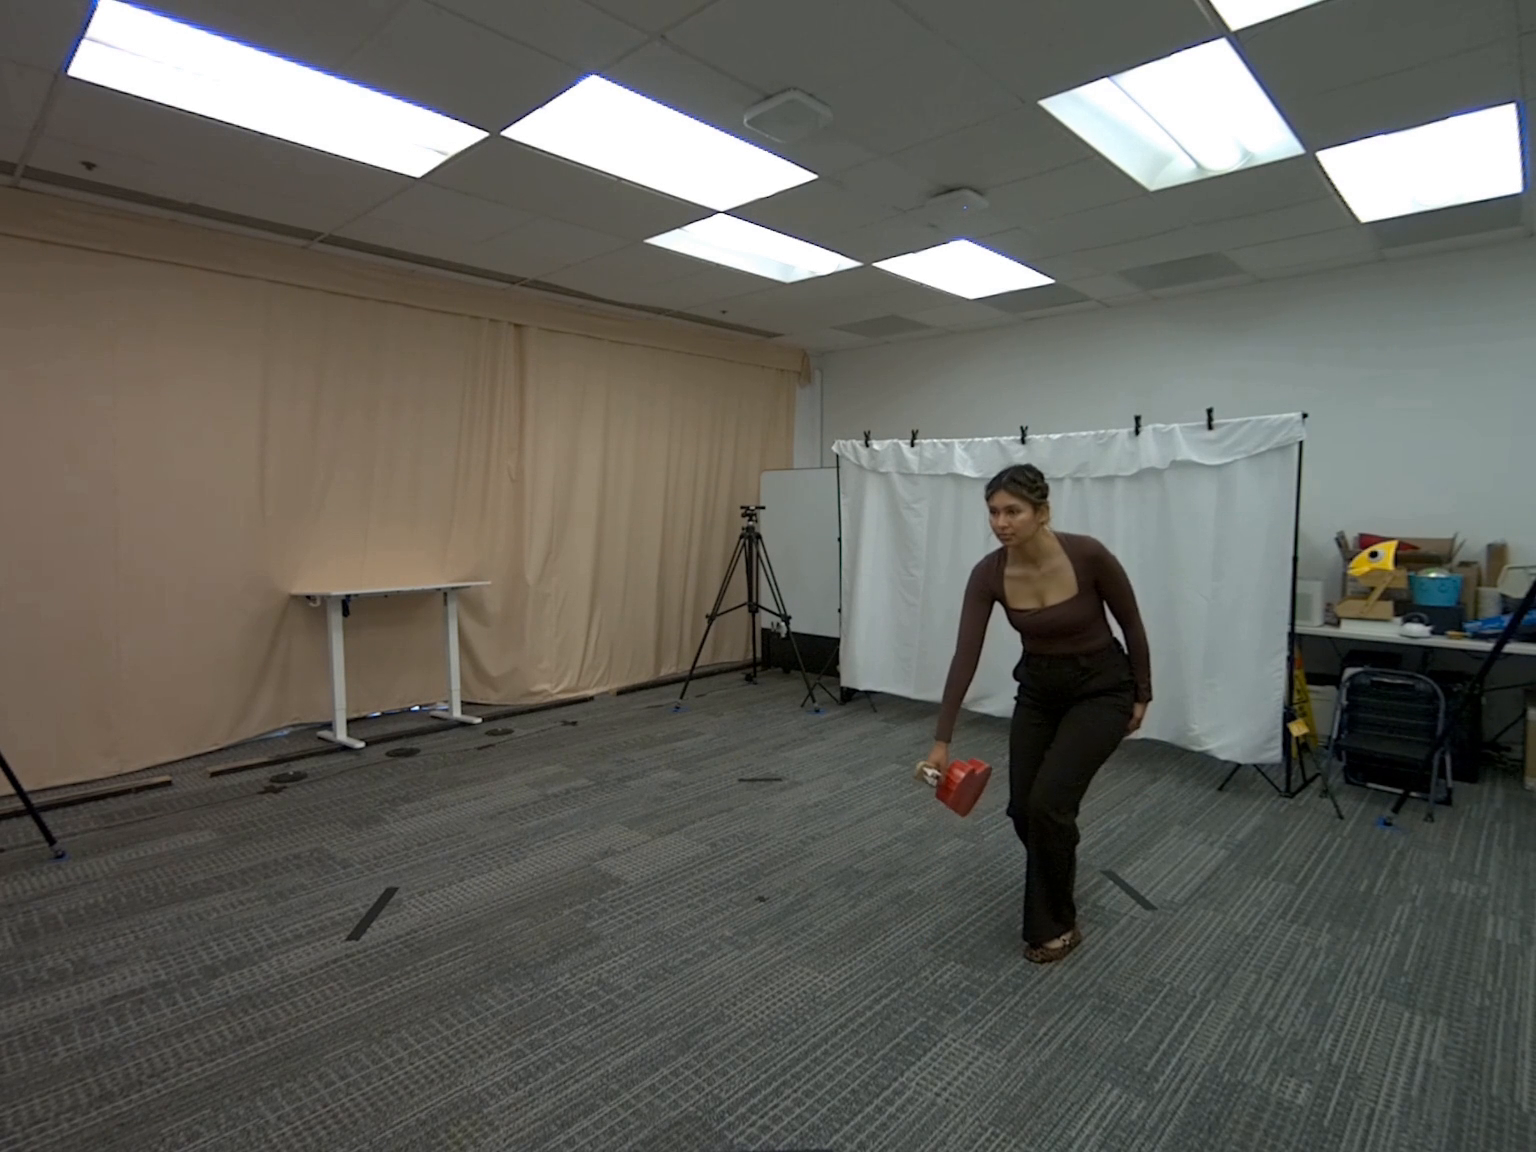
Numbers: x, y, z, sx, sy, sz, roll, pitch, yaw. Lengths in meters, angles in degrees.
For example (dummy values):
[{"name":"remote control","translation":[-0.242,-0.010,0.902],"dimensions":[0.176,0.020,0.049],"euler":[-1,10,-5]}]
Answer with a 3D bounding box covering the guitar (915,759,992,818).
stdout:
[{"name":"guitar","translation":[0.583,0.691,2.692],"dimensions":[0.073,0.193,0.481],"euler":[28,8,35]}]
